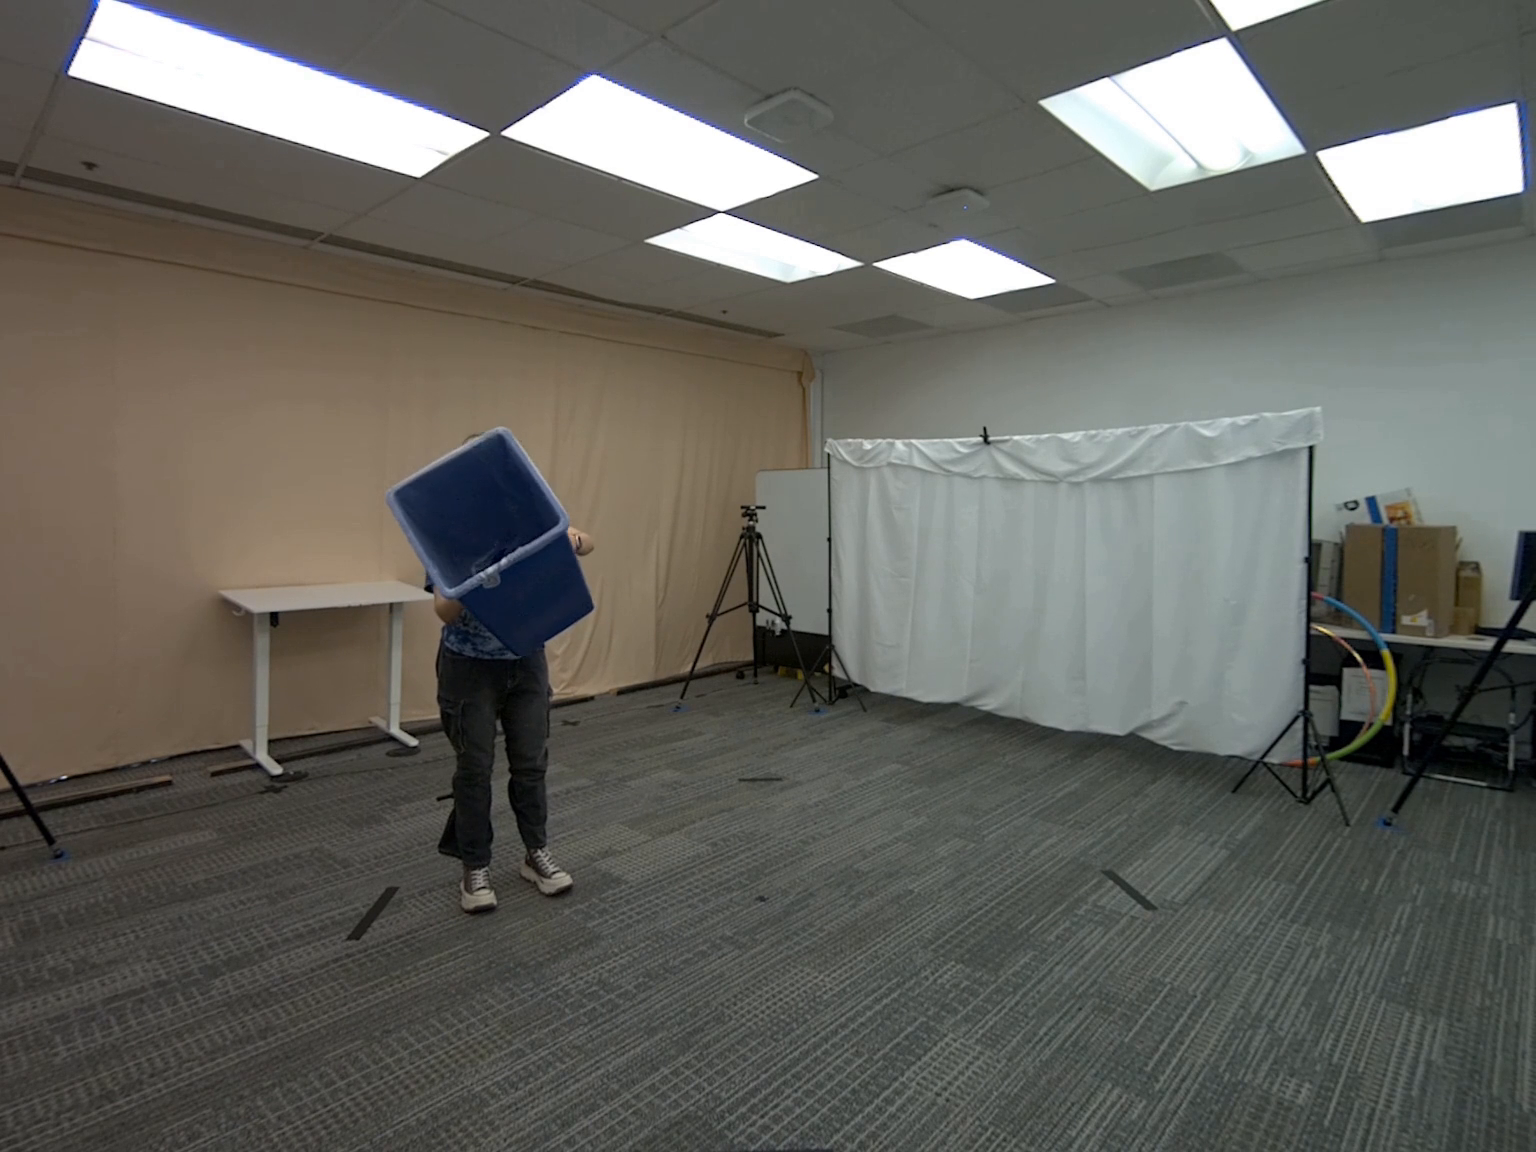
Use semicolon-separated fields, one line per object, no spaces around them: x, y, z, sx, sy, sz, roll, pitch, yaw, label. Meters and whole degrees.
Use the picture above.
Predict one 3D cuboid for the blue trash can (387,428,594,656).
-0.775;-0.048;2.485;0.375;0.381;0.706;-33;-16;-15;blue trash can
